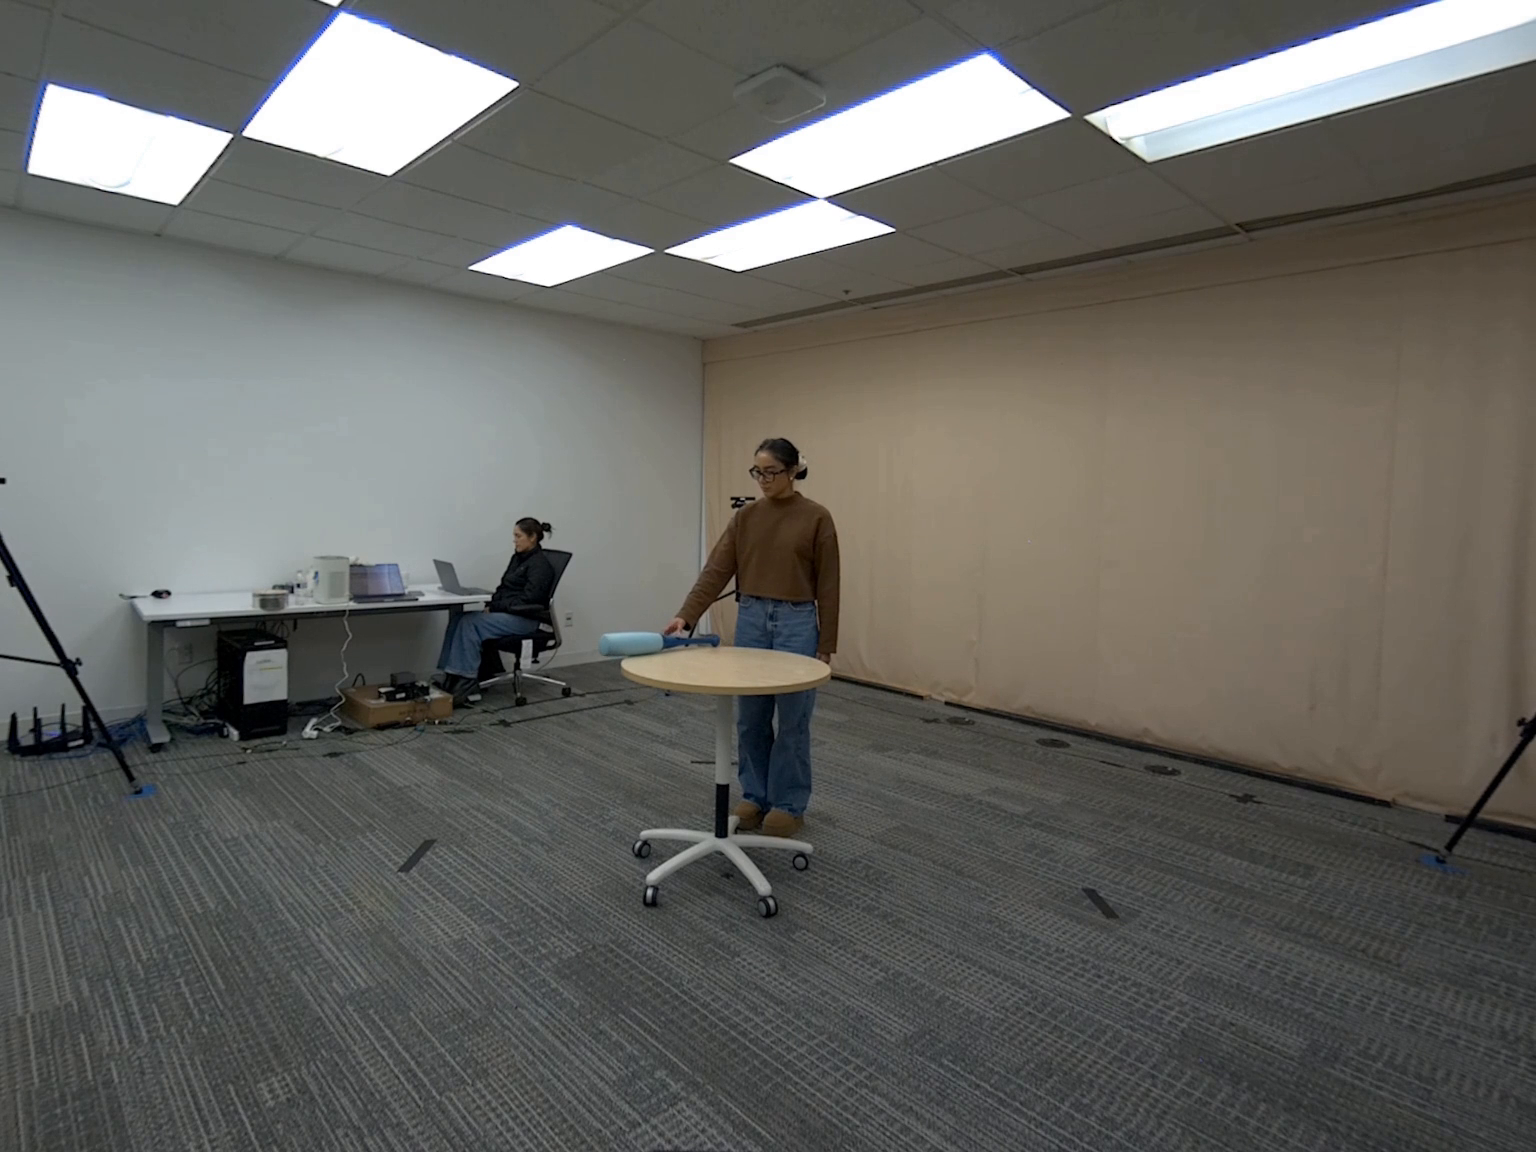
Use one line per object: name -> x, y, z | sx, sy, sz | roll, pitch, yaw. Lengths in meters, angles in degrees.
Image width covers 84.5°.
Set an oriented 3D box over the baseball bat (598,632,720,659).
baseball bat -> -0.420, 0.263, 3.298 | 0.530, 0.089, 0.091 | 1, 4, -41
